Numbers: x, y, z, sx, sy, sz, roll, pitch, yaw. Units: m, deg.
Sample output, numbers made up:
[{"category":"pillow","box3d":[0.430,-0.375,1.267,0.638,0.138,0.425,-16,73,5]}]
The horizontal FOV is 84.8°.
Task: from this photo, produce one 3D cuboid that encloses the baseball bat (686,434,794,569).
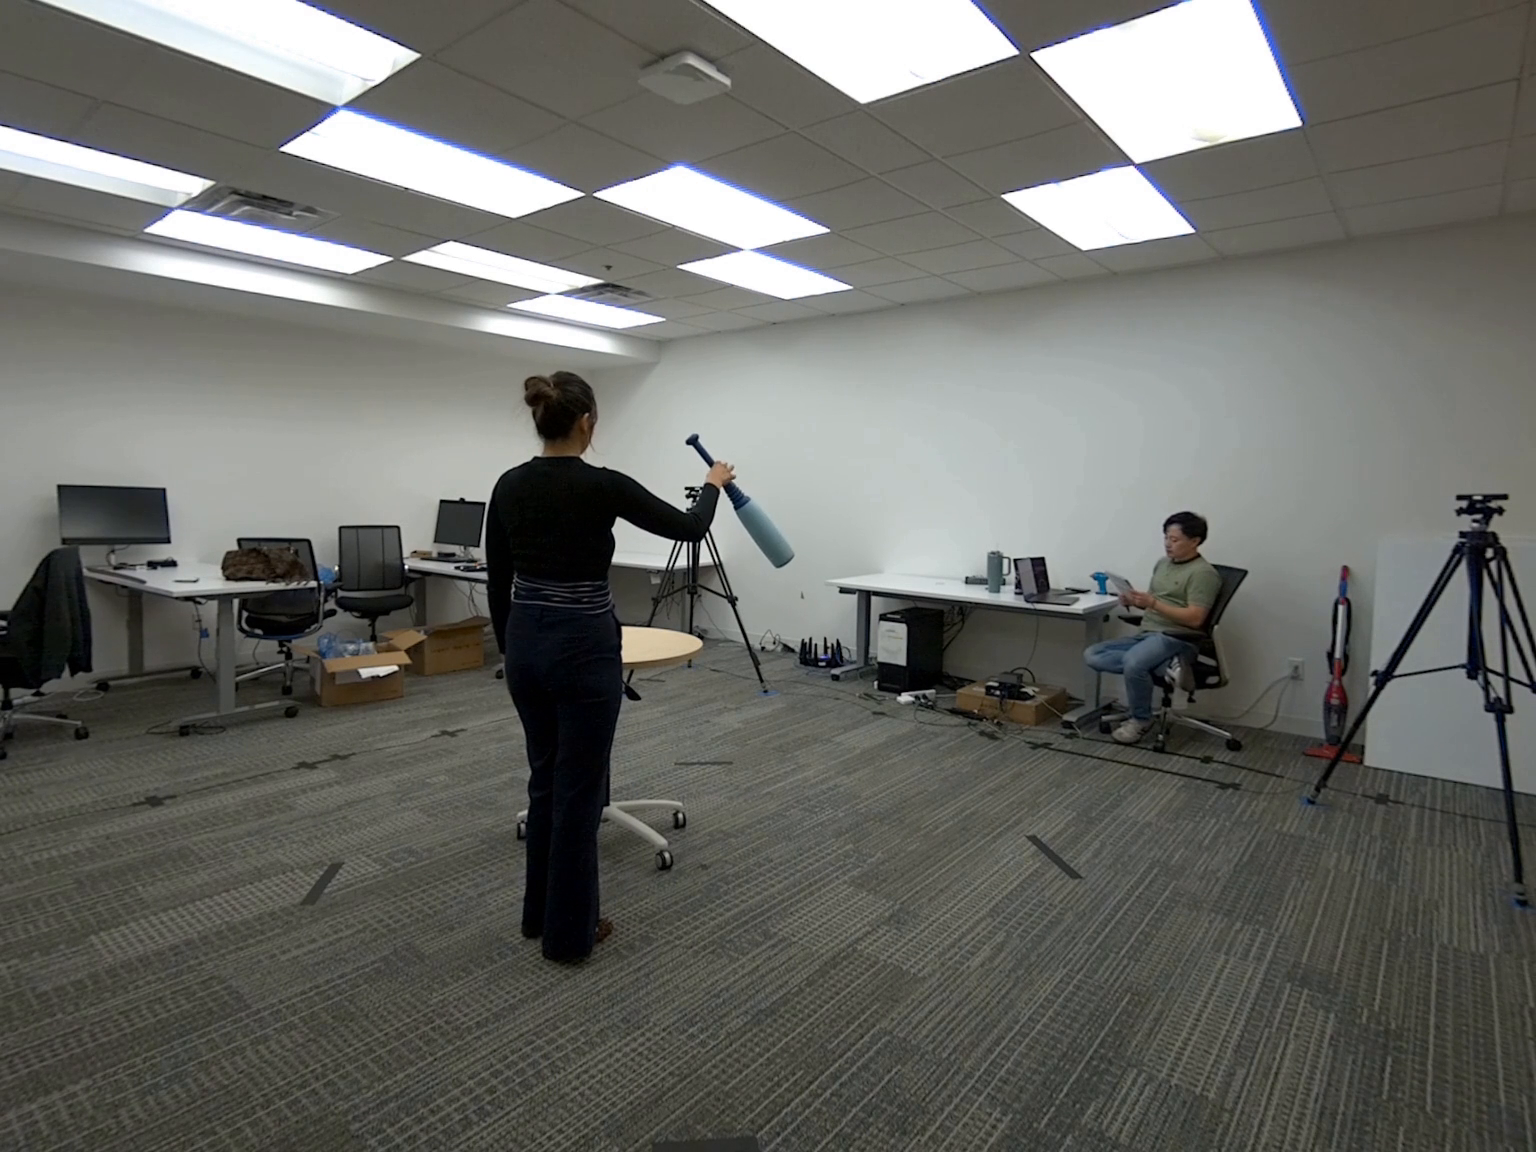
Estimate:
[{"category":"baseball bat","box3d":[-0.110,-0.260,2.879,0.089,0.538,0.090,-36,7,4]}]
